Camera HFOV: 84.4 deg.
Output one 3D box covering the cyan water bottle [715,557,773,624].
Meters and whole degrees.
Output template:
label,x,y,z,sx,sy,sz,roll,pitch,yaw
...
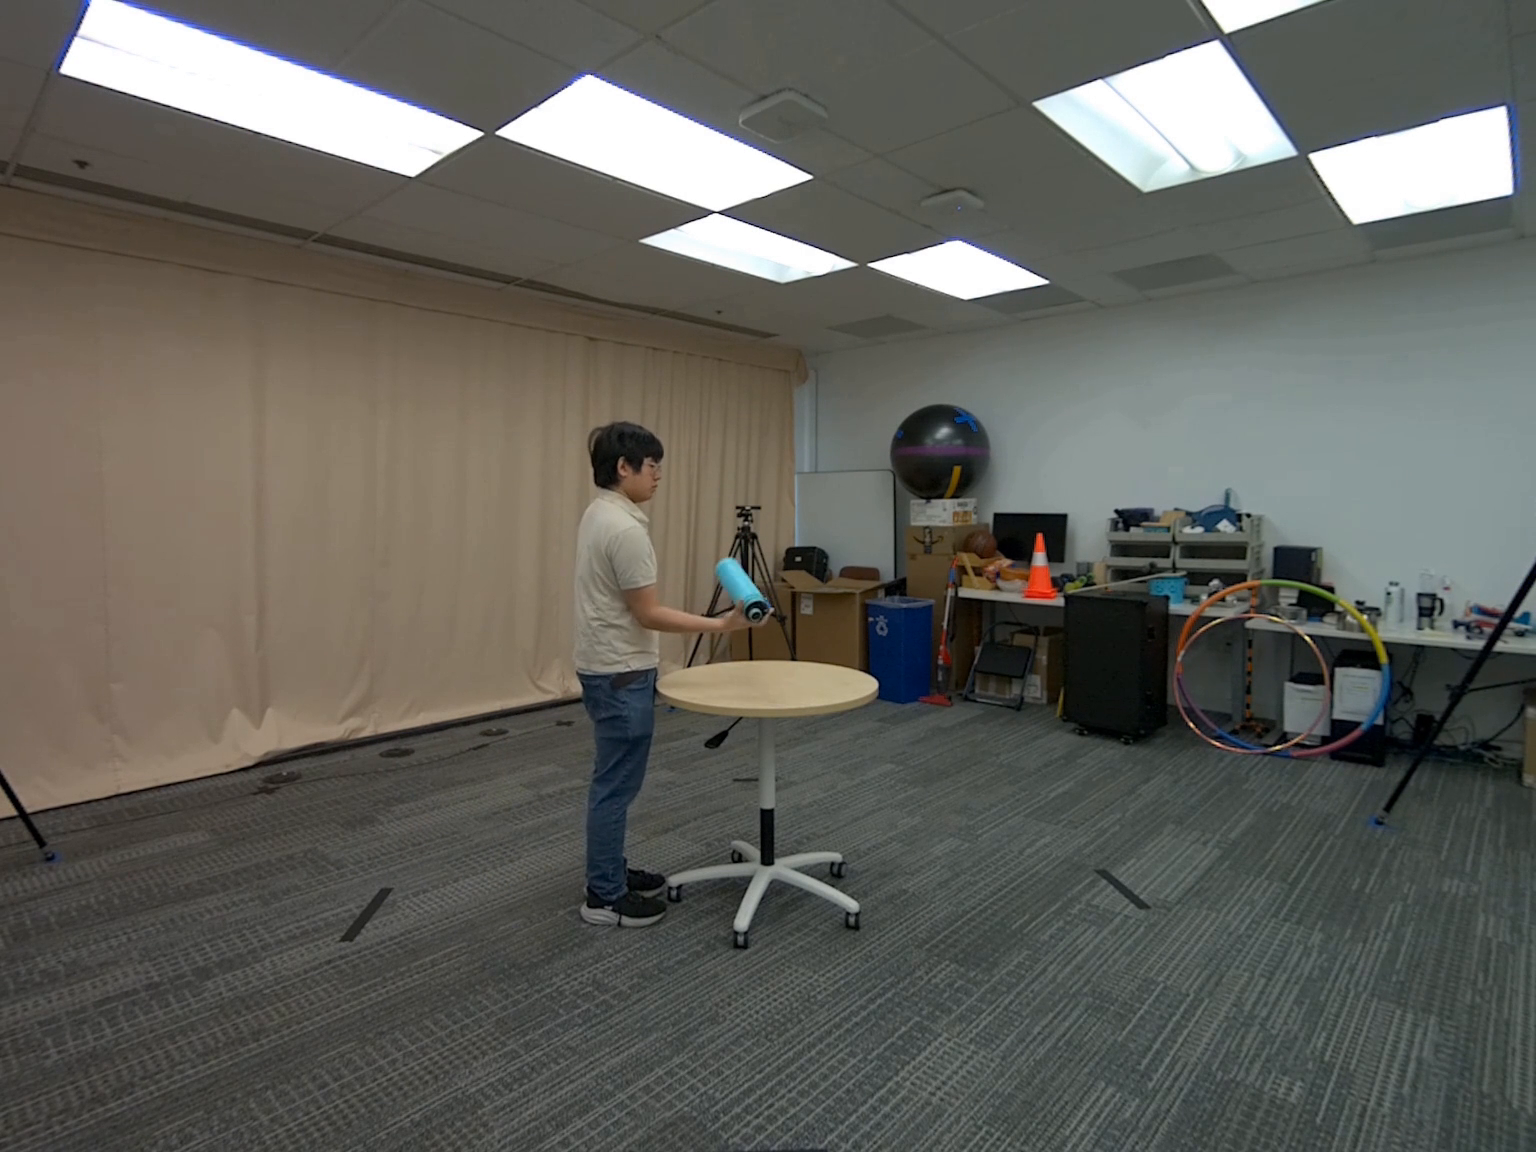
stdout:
label,x,y,z,sx,sy,sz,roll,pitch,yaw
cyan water bottle,-0.082,0.031,2.779,0.090,0.091,0.293,-2,34,-30
